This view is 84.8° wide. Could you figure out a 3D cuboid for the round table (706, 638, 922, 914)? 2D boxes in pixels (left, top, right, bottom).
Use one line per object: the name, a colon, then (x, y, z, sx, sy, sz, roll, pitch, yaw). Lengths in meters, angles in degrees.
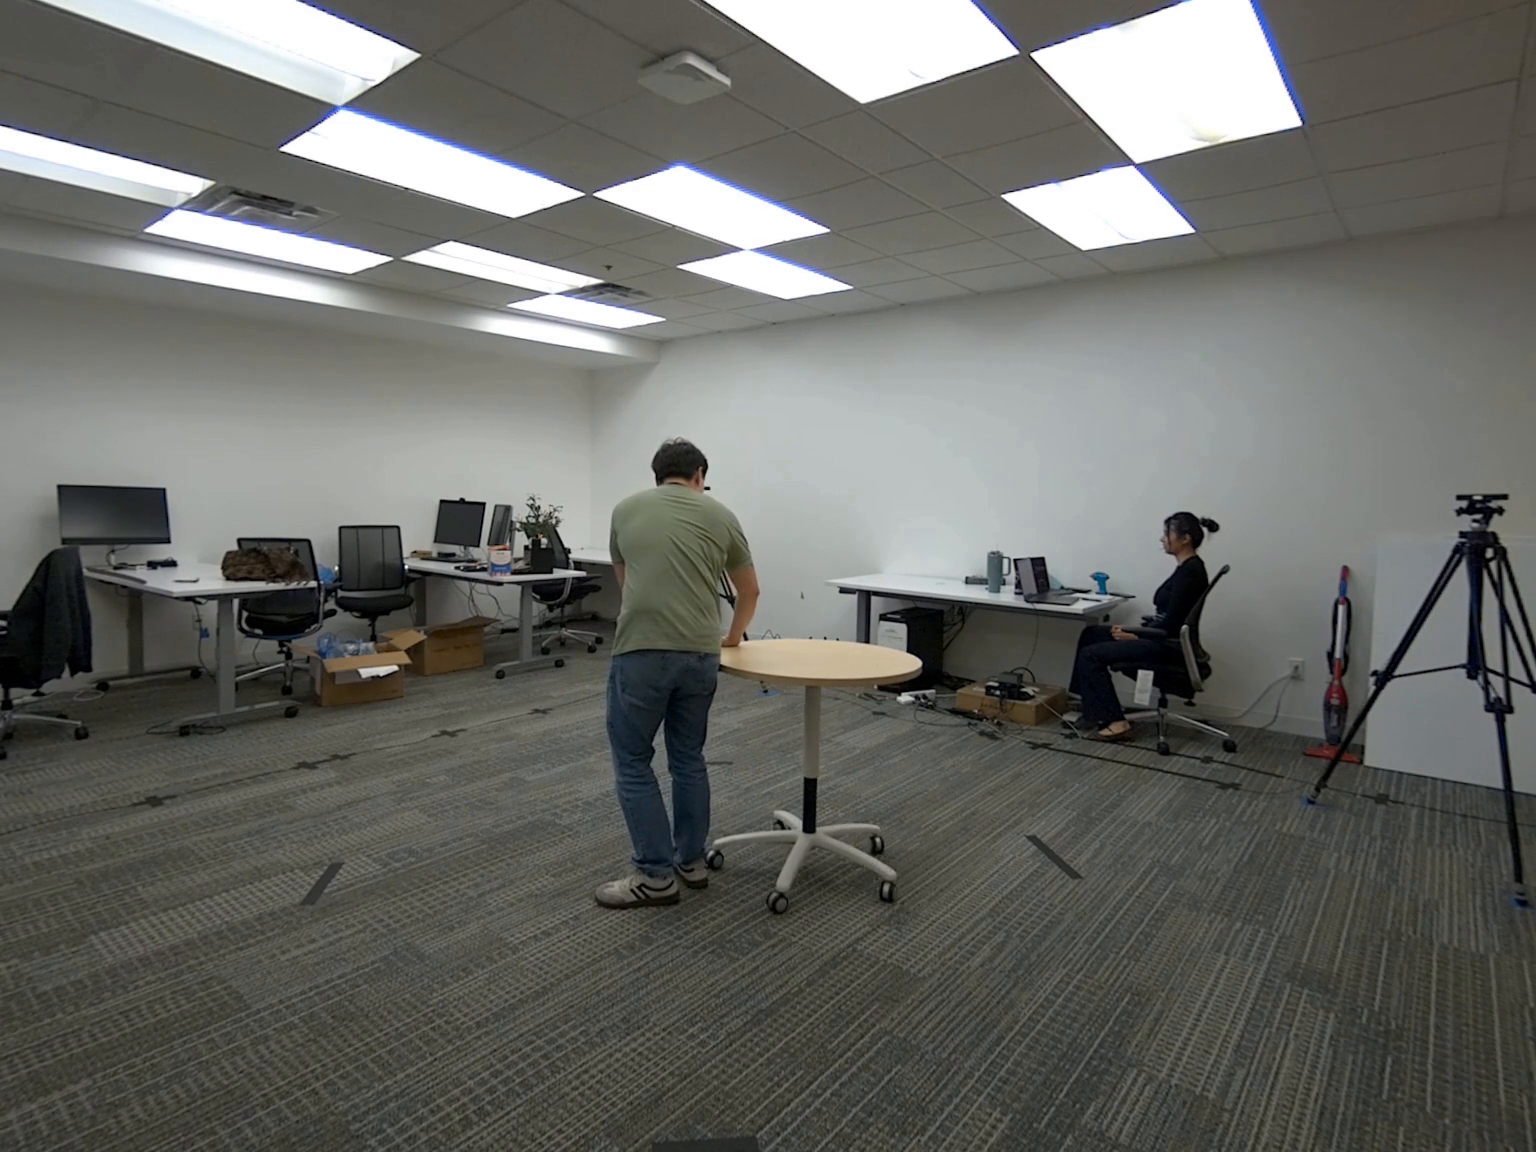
round table: (0.143, 0.683, 3.102, 0.763, 0.792, 0.767, 1, 4, -2)
